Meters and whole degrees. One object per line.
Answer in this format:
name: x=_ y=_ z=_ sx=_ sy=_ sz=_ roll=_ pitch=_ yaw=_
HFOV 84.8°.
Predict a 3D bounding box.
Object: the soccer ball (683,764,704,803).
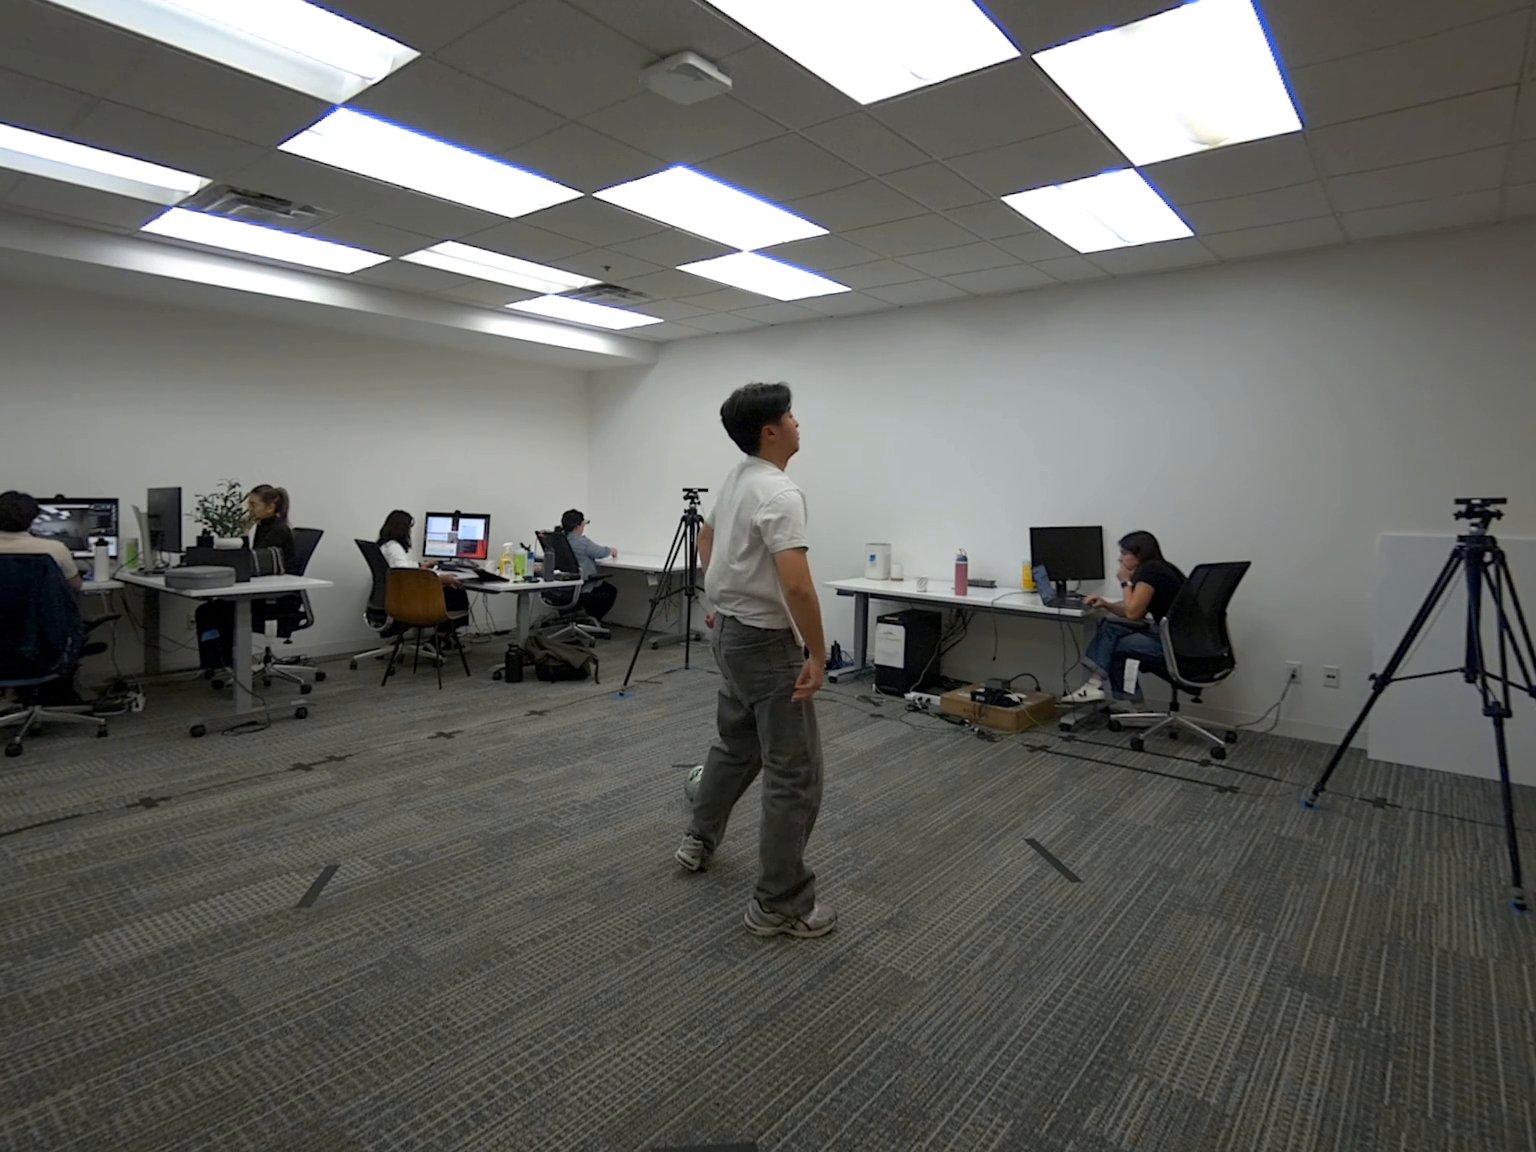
soccer ball: x=-0.263 y=0.903 z=3.714 sx=0.187 sy=0.187 sz=0.188 roll=1 pitch=4 yaw=-2
